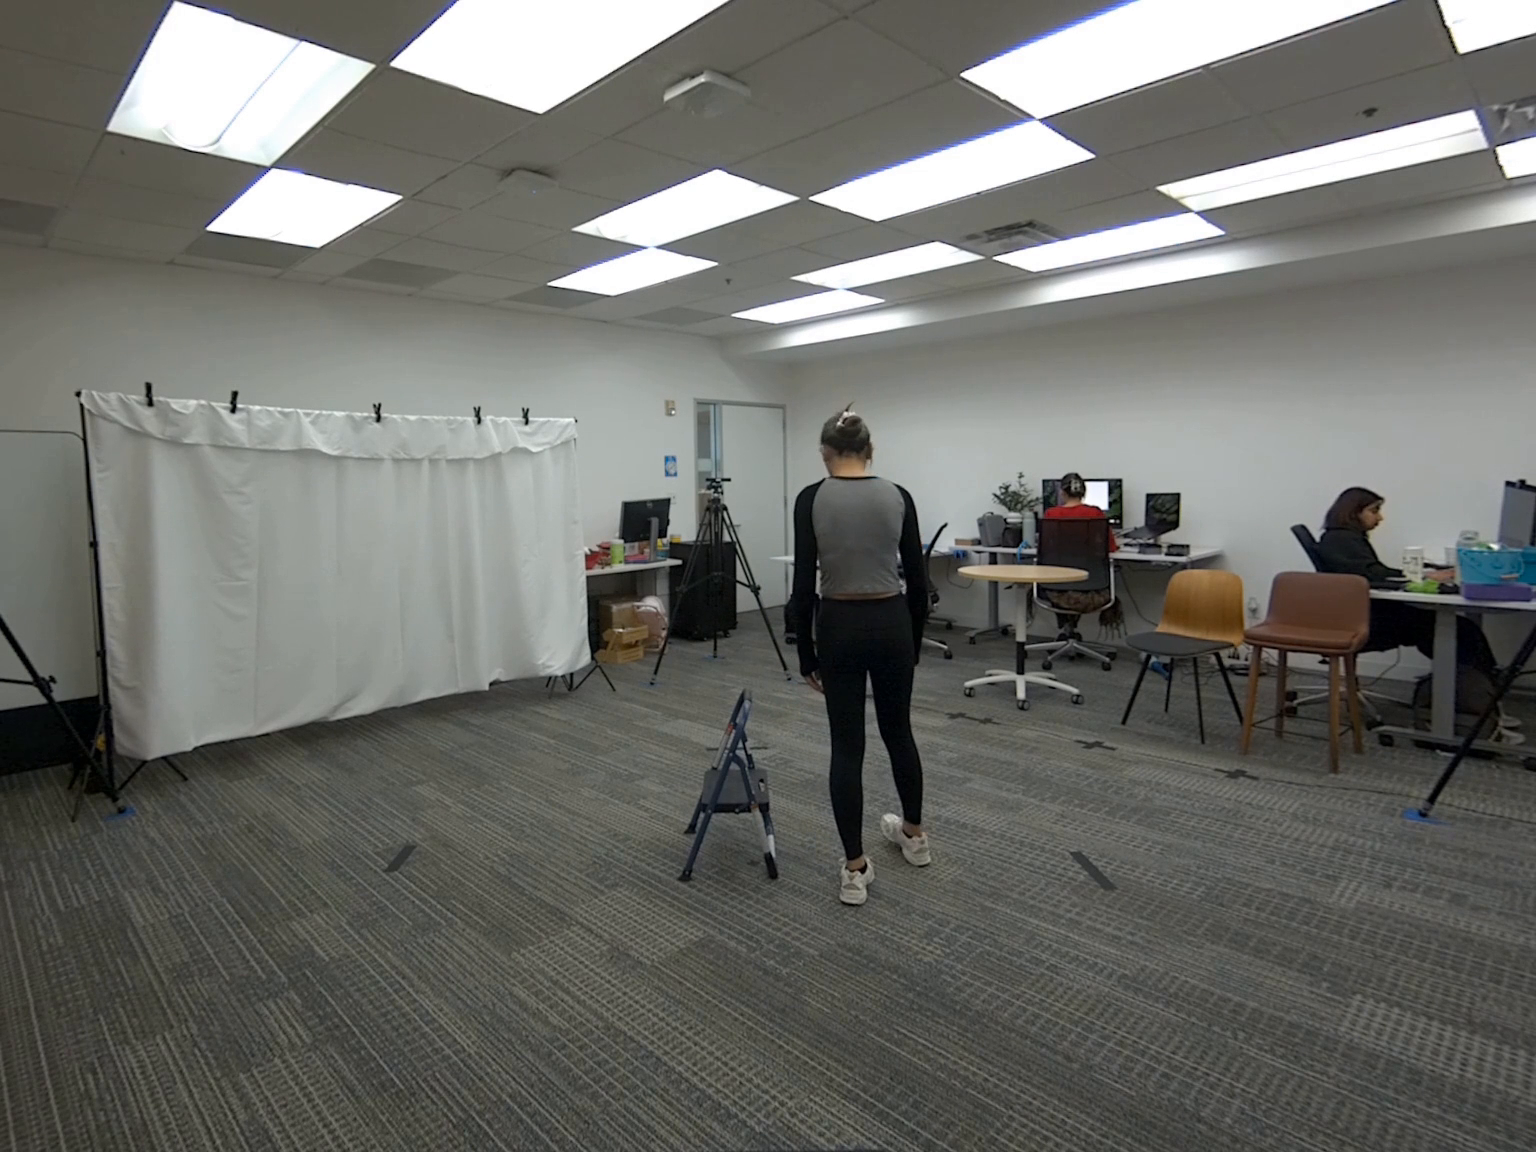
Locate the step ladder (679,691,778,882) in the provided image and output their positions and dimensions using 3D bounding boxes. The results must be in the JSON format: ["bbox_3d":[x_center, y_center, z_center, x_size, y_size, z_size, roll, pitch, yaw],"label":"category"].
[{"bbox_3d":[-0.146,0.737,3.163,0.349,0.604,0.432,-1,4,-1],"label":"step ladder"}]
